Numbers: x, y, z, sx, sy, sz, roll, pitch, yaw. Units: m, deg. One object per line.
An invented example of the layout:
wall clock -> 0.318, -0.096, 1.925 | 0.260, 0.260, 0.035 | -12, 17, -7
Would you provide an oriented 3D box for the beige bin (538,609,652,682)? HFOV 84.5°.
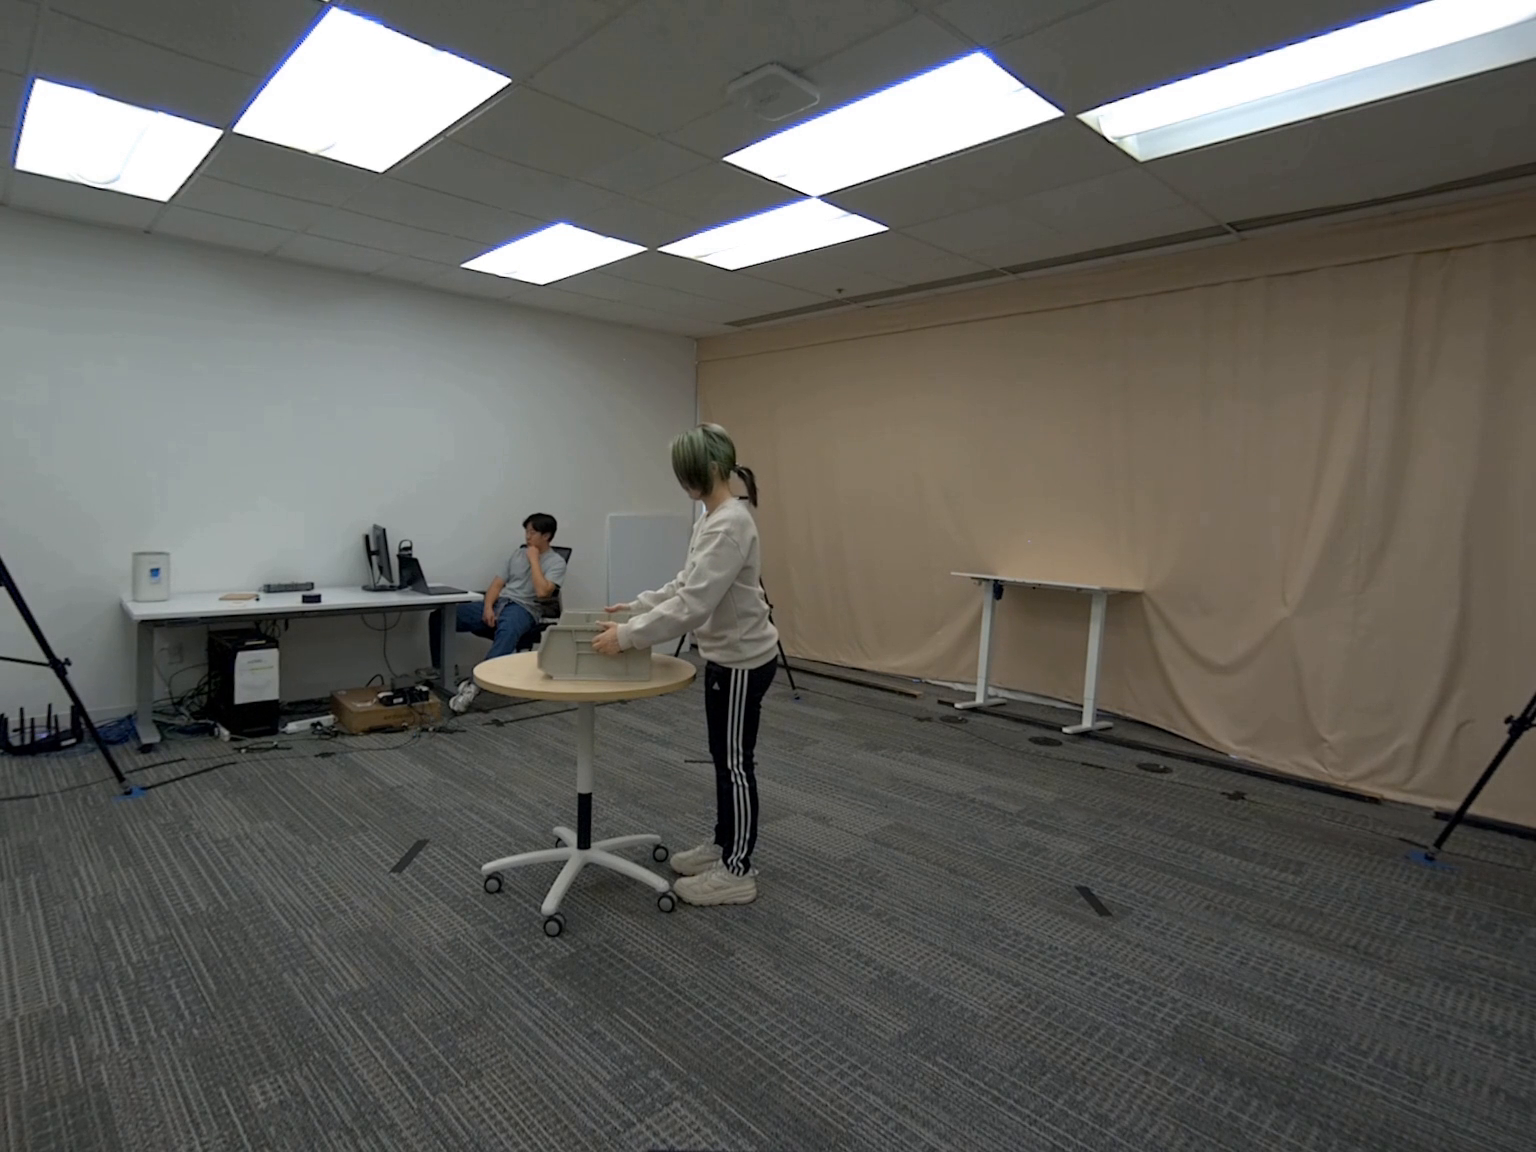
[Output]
beige bin -> -0.589, 0.234, 2.946 | 0.375, 0.188, 0.425 | 1, 5, -6
